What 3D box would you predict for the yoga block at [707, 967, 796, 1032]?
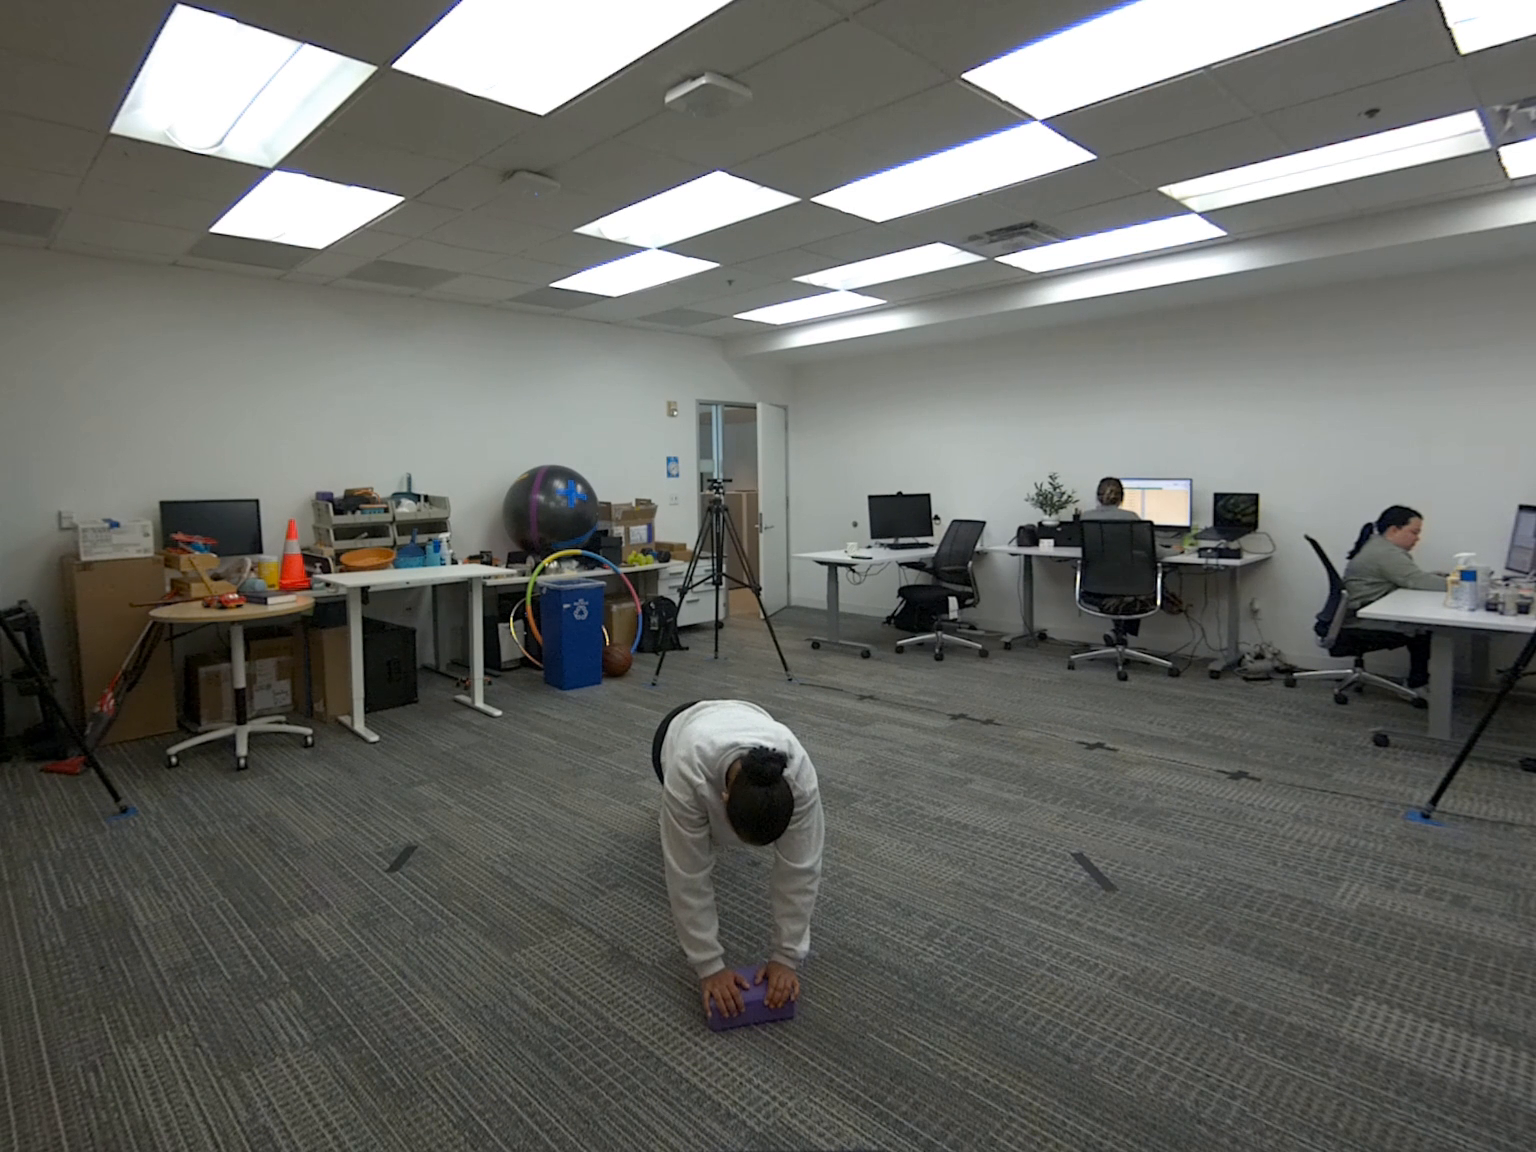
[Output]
[{"bbox_3d":[-0.047,1.118,2.255,0.227,0.076,0.151,-1,6,-12],"label":"yoga block"}]
